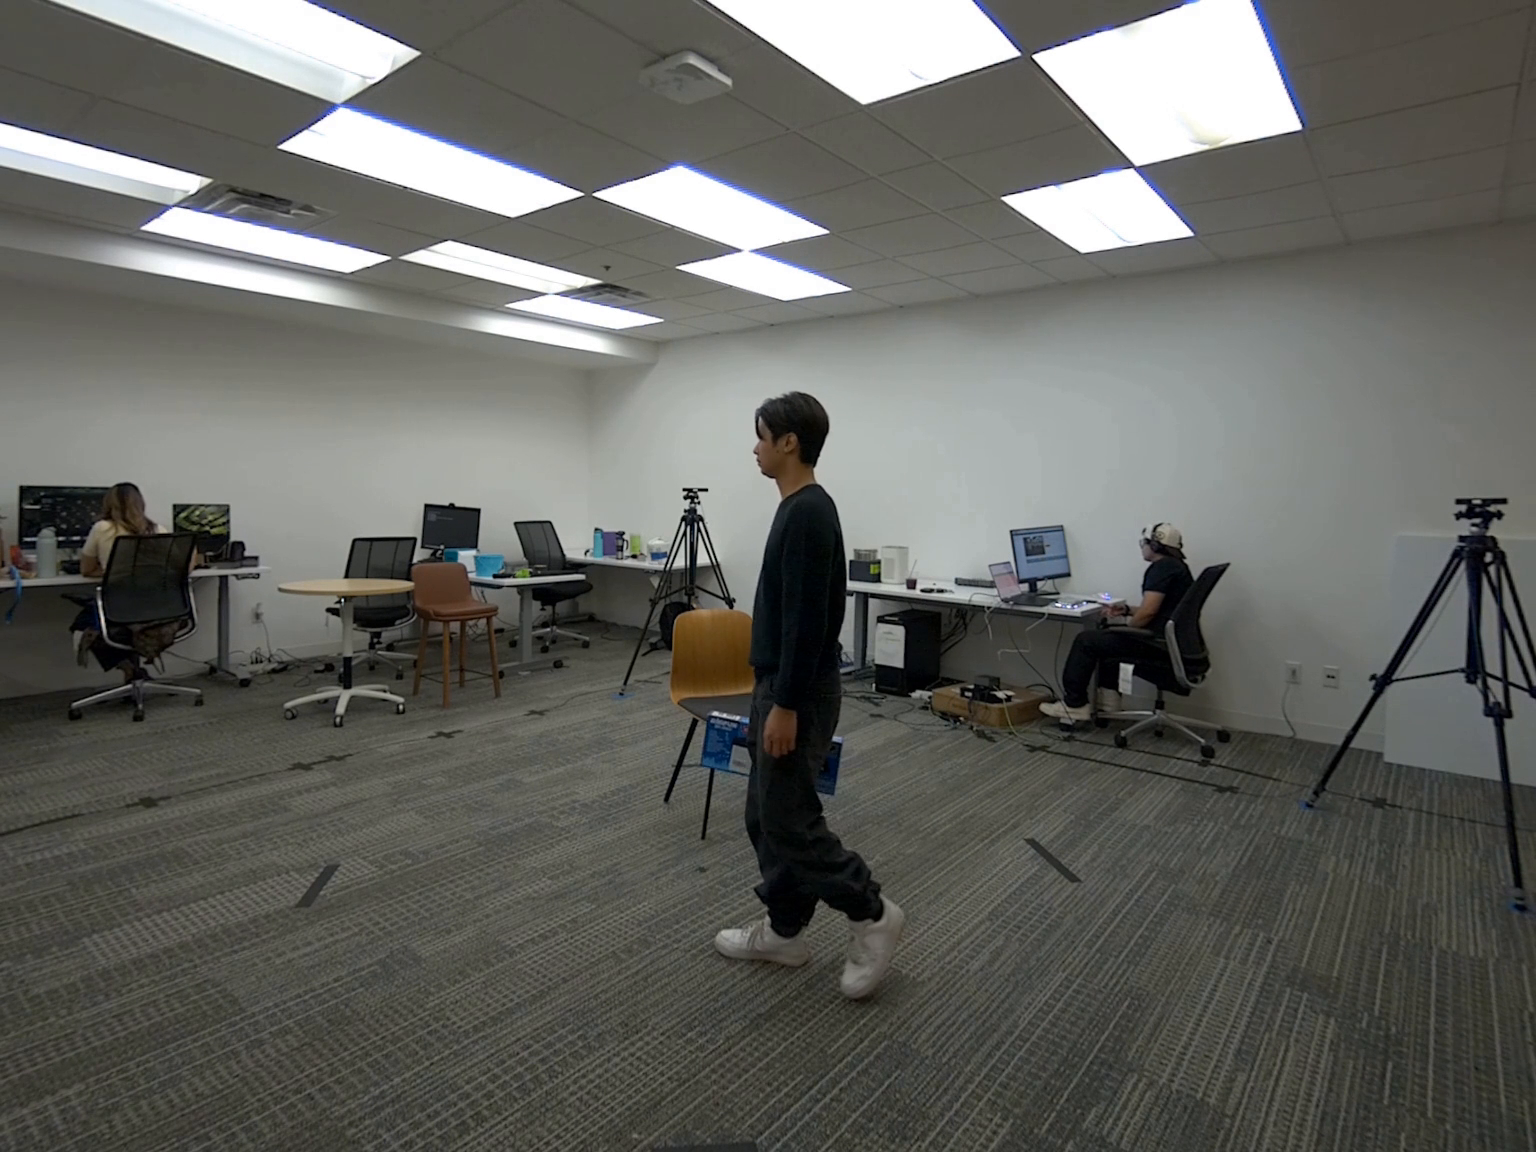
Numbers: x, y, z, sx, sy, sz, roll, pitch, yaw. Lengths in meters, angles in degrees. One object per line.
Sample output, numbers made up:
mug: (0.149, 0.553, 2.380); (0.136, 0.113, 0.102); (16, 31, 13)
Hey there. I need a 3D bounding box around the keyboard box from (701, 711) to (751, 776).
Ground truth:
keyboard box: (0.012, 0.560, 2.718); (0.443, 0.175, 0.058); (9, 3, 11)
